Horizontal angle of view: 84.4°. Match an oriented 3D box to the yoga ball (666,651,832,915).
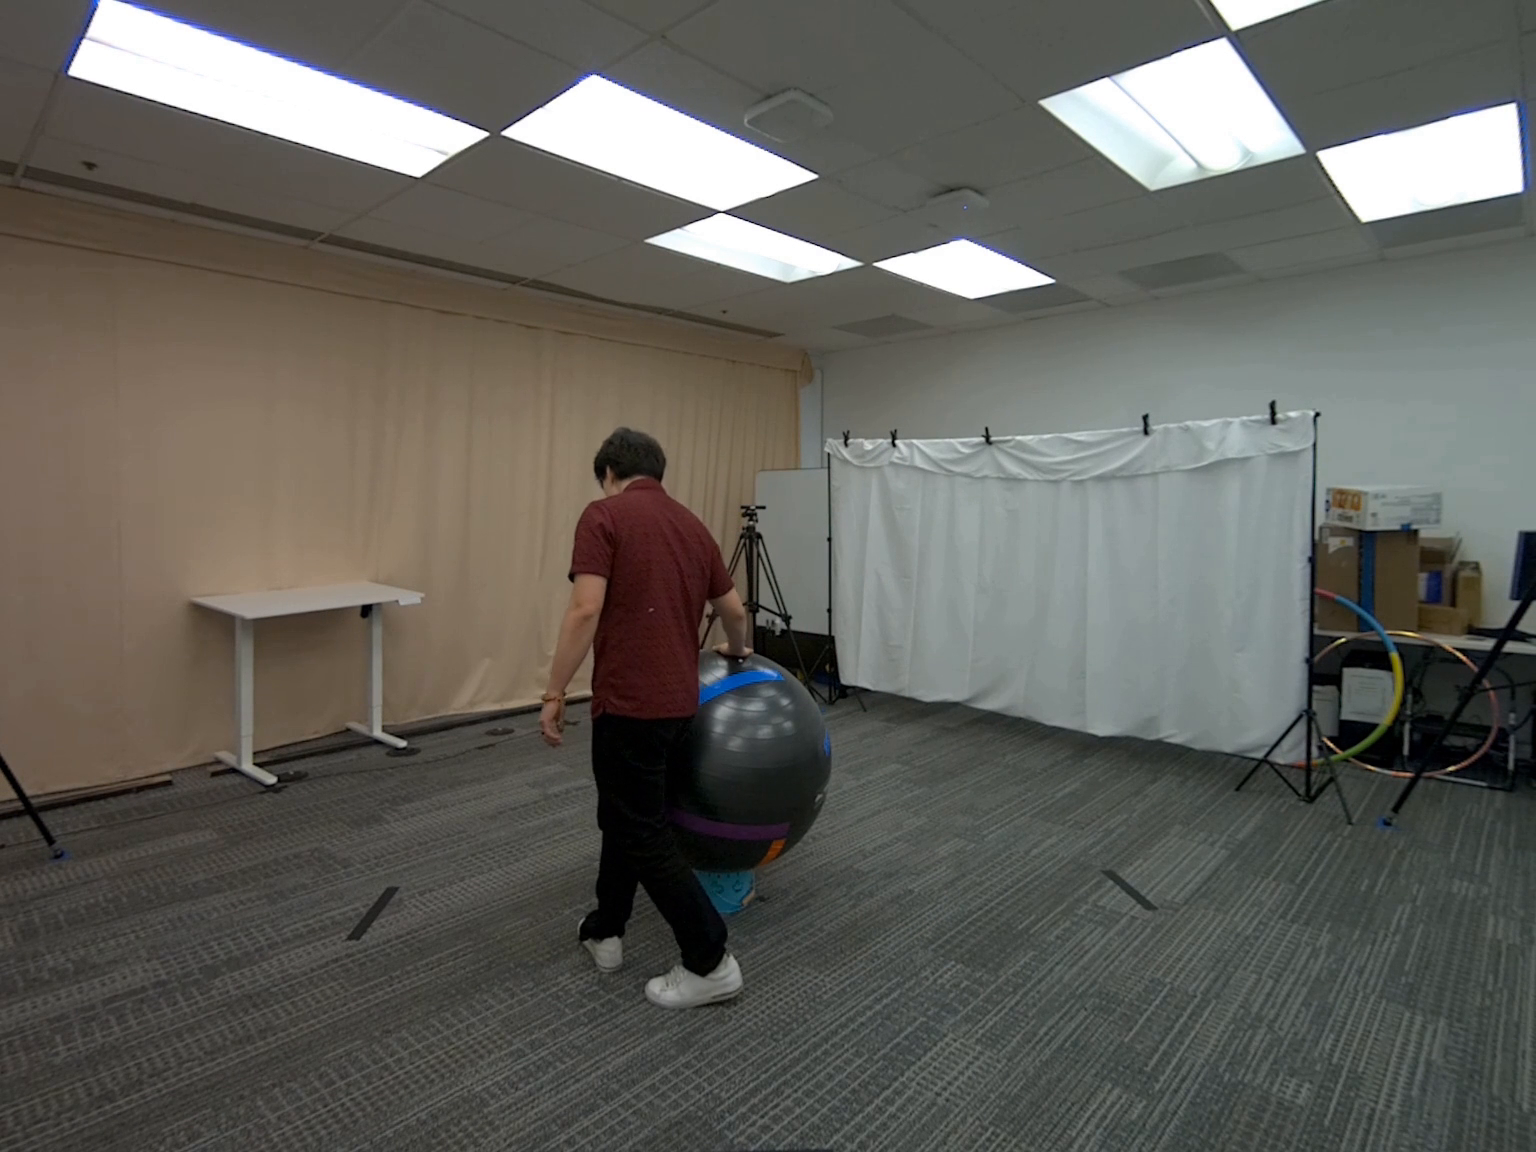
[{"bbox_3d":[-0.149,0.644,2.953,0.757,0.756,0.760,0,4,-2],"label":"yoga ball"}]
